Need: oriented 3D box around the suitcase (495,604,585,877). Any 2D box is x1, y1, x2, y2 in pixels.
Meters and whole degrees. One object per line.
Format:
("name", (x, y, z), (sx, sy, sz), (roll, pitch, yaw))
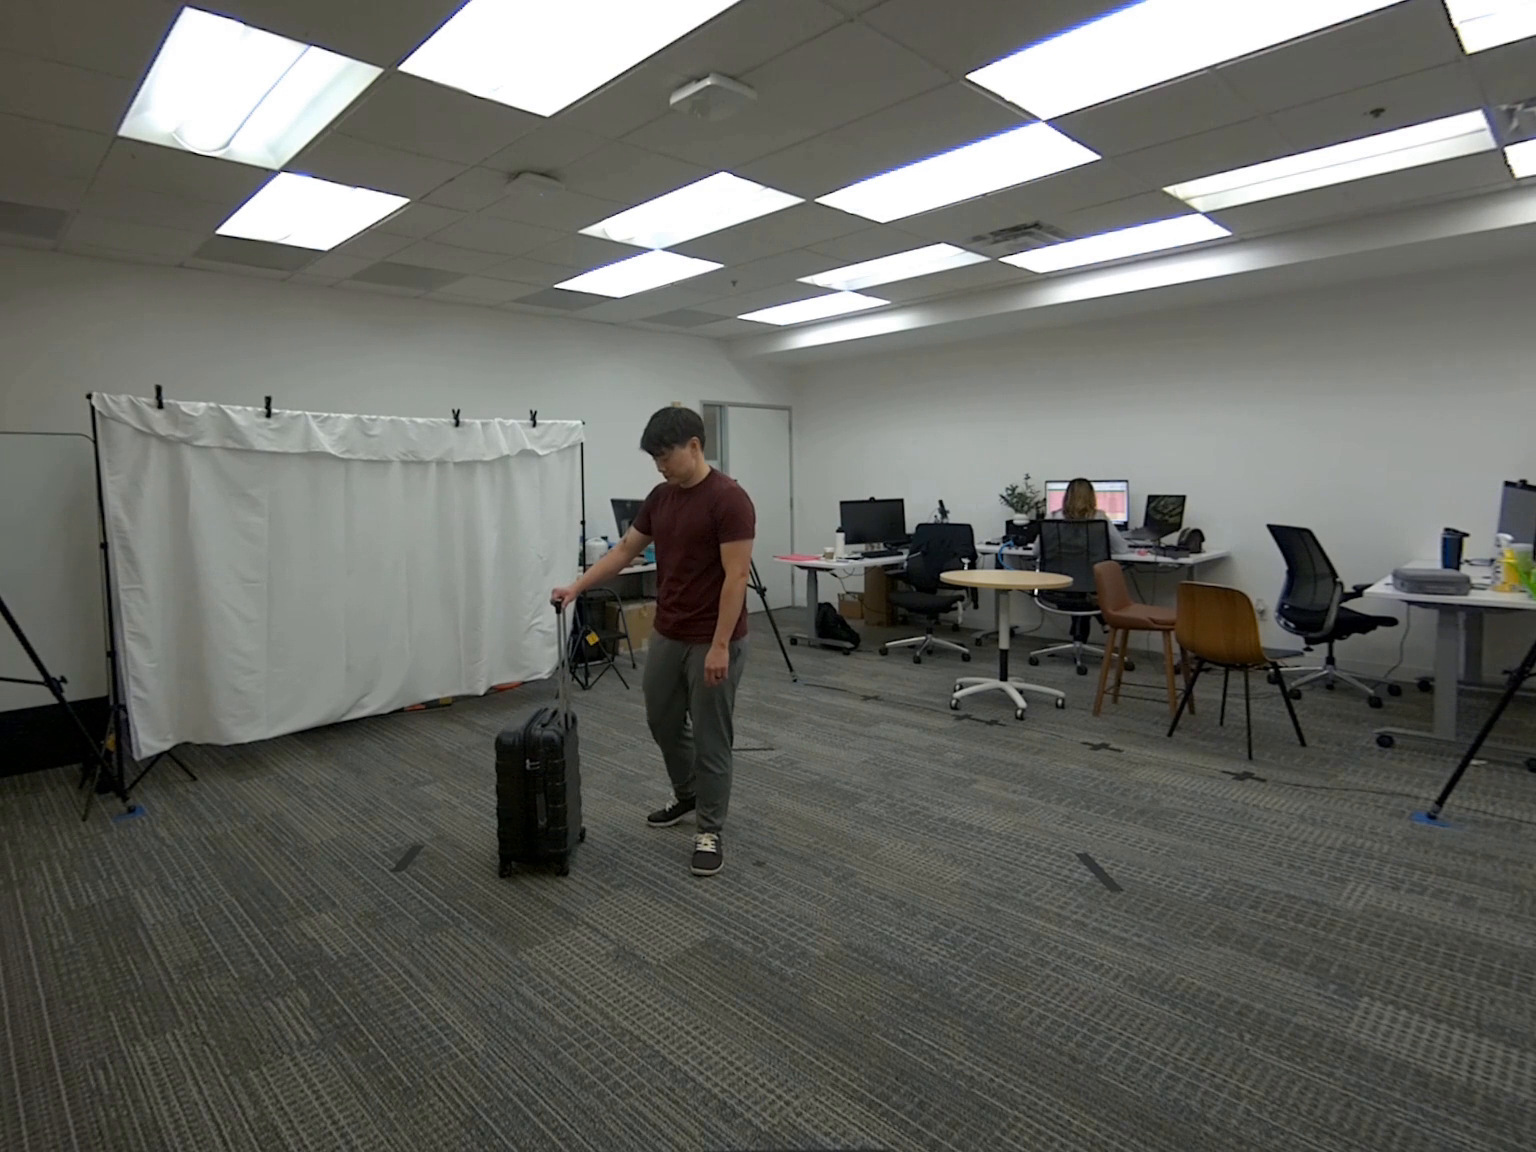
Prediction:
("suitcase", (-0.848, 0.579, 3.151), (0.257, 0.975, 0.385), (-3, 4, 1))
